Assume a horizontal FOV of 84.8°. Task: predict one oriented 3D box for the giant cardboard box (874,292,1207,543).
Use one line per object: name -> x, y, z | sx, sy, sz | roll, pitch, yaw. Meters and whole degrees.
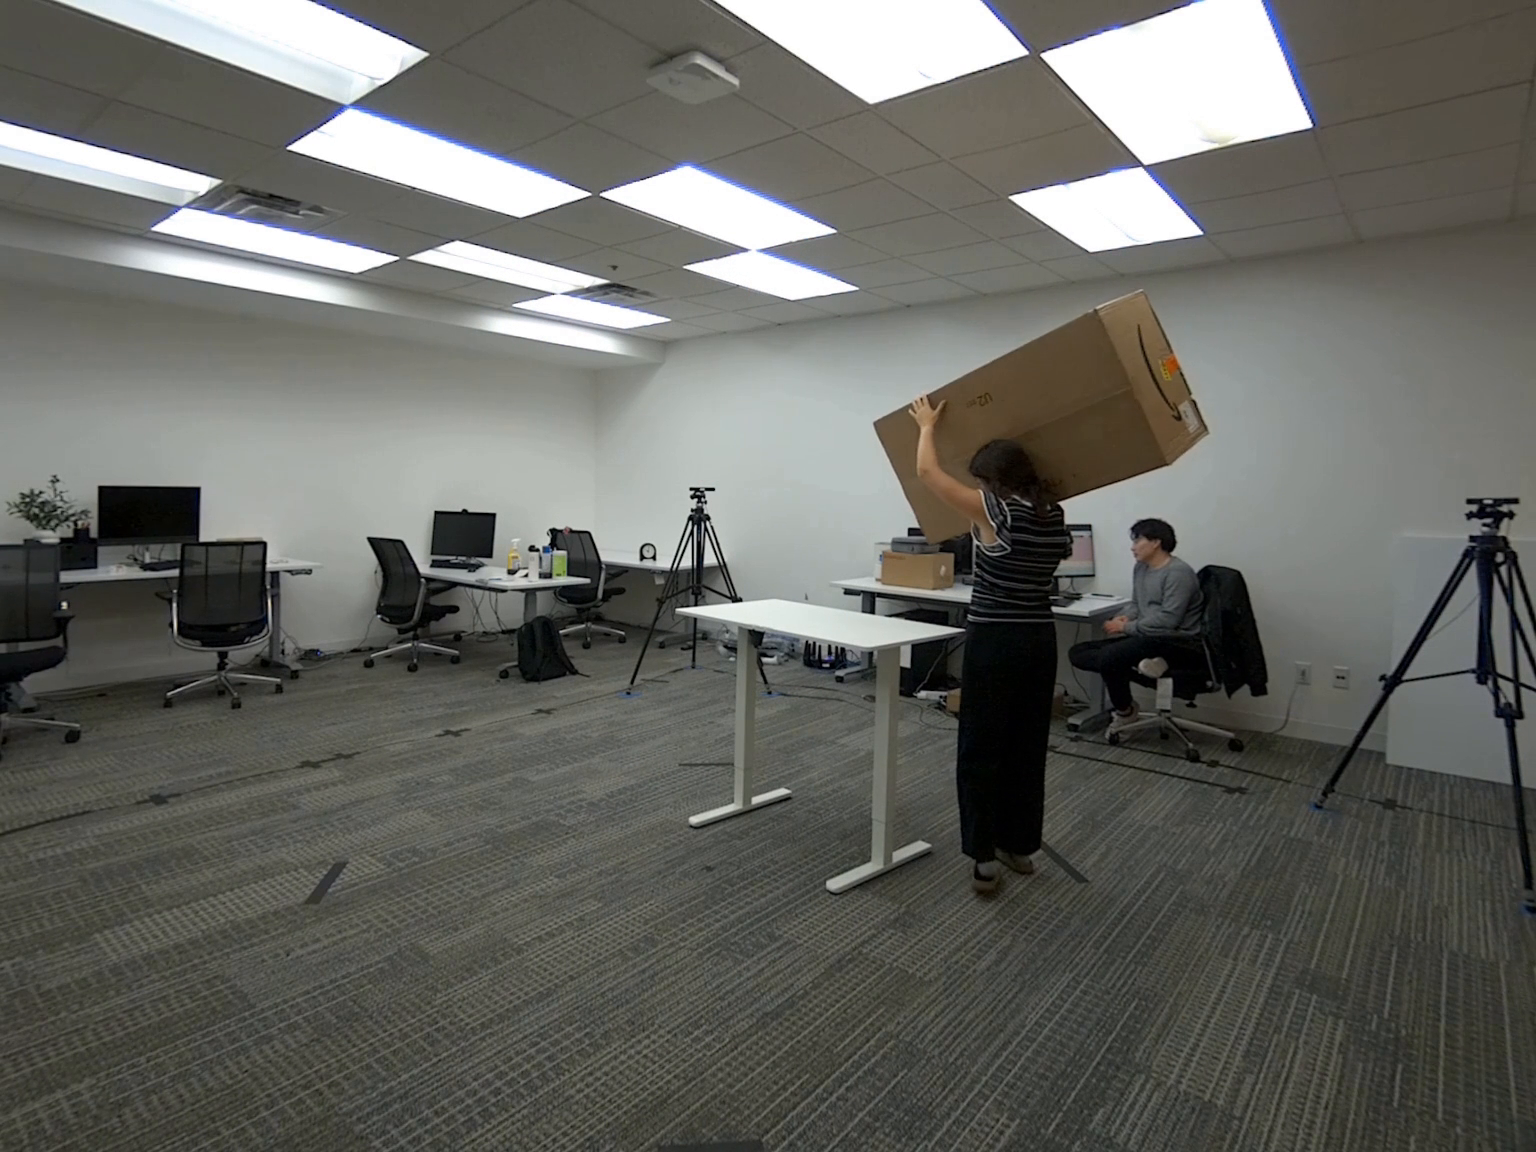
giant cardboard box -> 1.000, -0.576, 3.312 | 0.420, 0.576, 1.044 | -28, 4, -41
